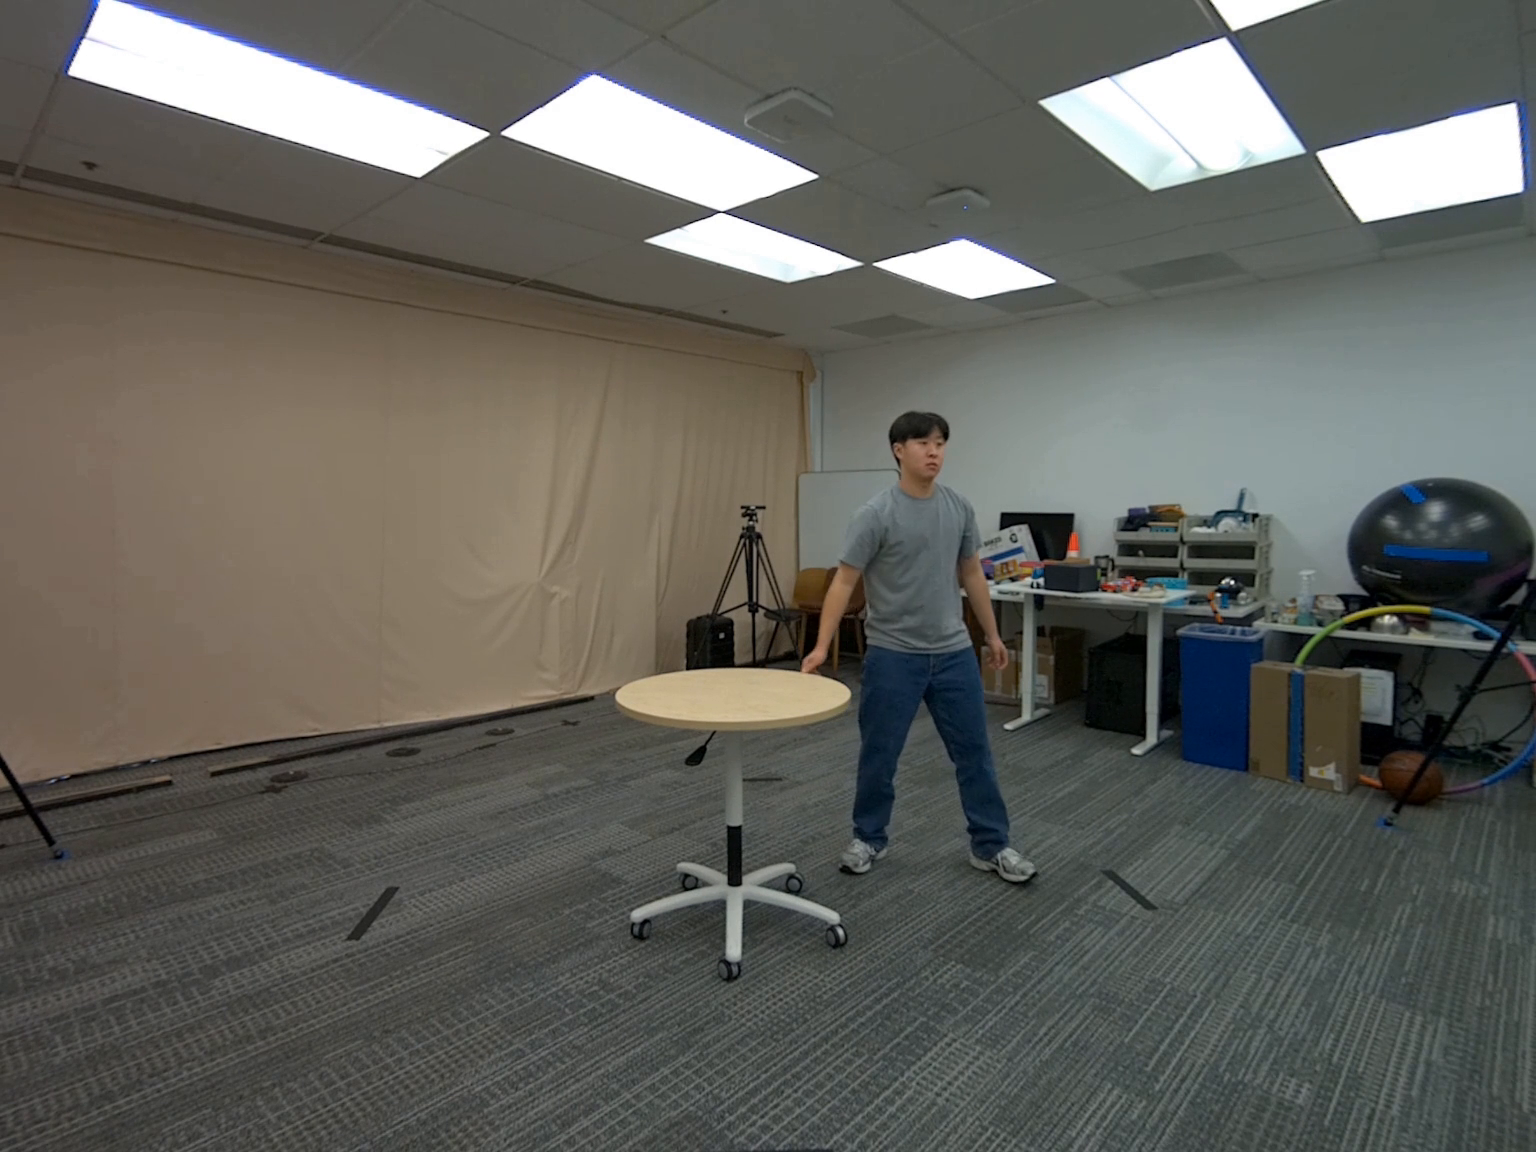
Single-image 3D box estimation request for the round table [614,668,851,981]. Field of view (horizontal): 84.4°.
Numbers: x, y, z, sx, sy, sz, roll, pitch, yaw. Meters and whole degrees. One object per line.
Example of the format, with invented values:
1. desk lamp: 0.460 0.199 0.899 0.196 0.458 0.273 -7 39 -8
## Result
1. round table: -0.111 0.773 2.777 0.763 0.792 0.767 -1 4 -2
